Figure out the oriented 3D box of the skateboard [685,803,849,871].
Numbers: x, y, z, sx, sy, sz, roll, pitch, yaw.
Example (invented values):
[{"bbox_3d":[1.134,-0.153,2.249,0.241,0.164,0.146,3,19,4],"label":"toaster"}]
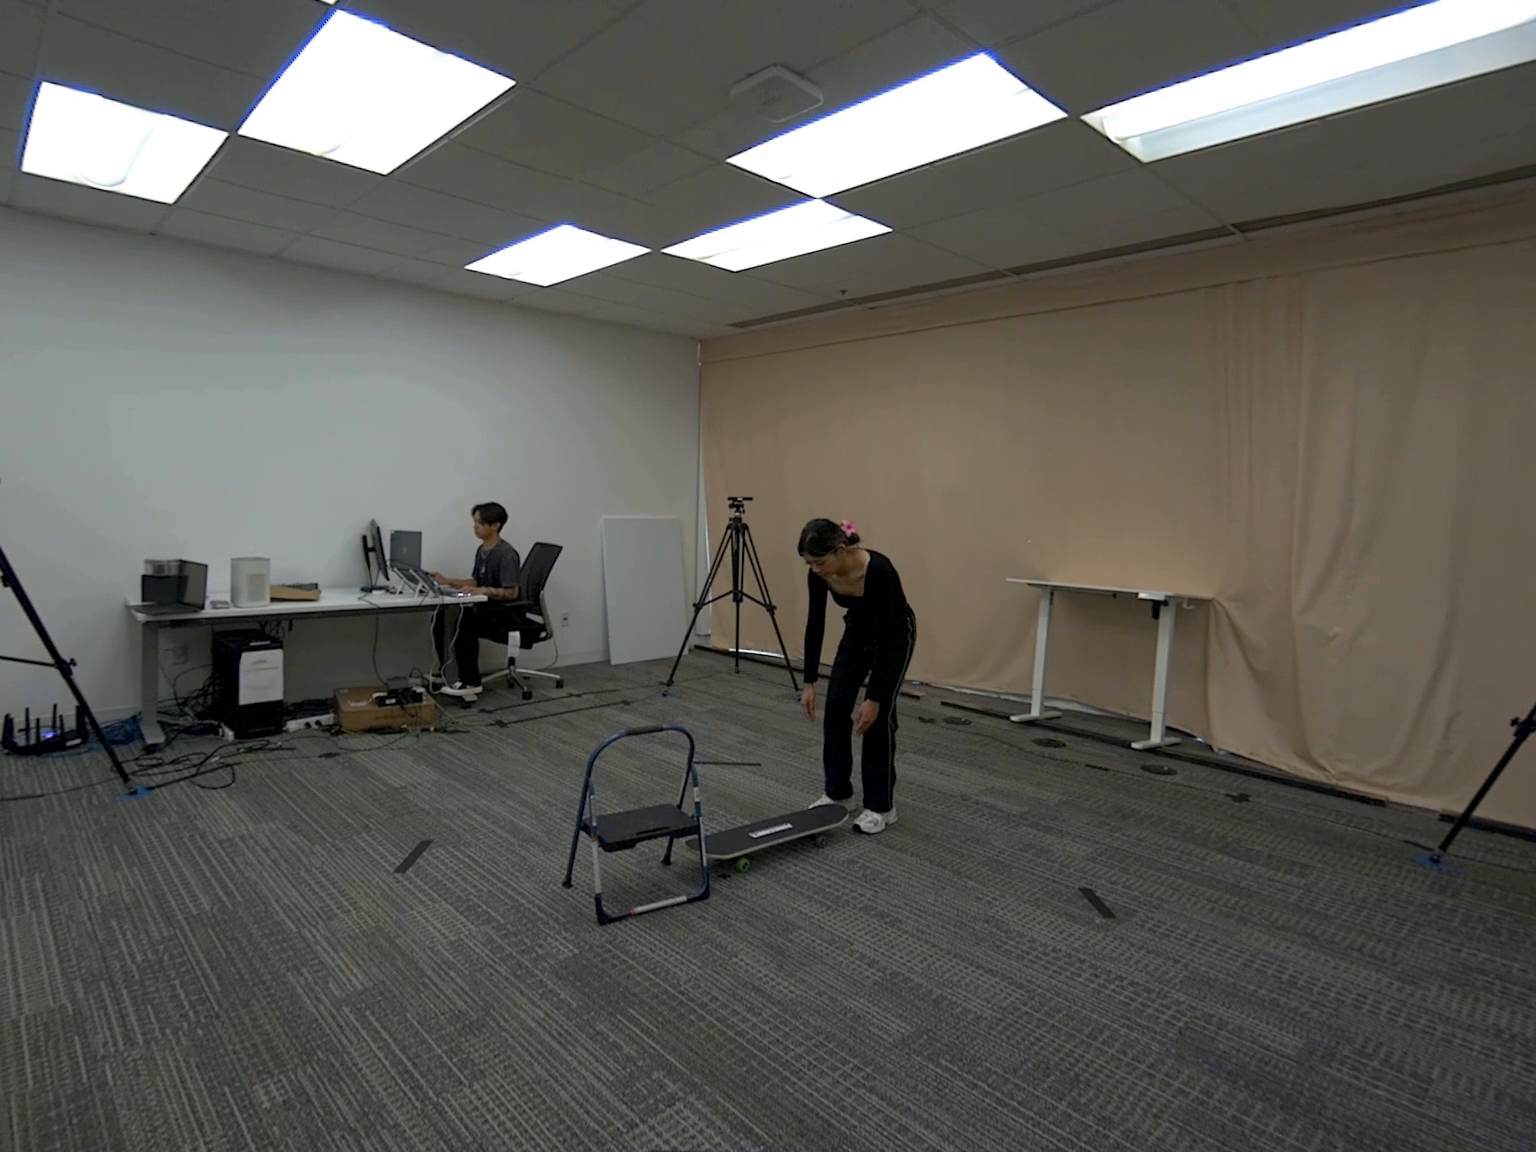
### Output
[{"bbox_3d":[0.007,1.039,3.326,0.768,0.110,0.198,-3,7,-38],"label":"skateboard"}]
